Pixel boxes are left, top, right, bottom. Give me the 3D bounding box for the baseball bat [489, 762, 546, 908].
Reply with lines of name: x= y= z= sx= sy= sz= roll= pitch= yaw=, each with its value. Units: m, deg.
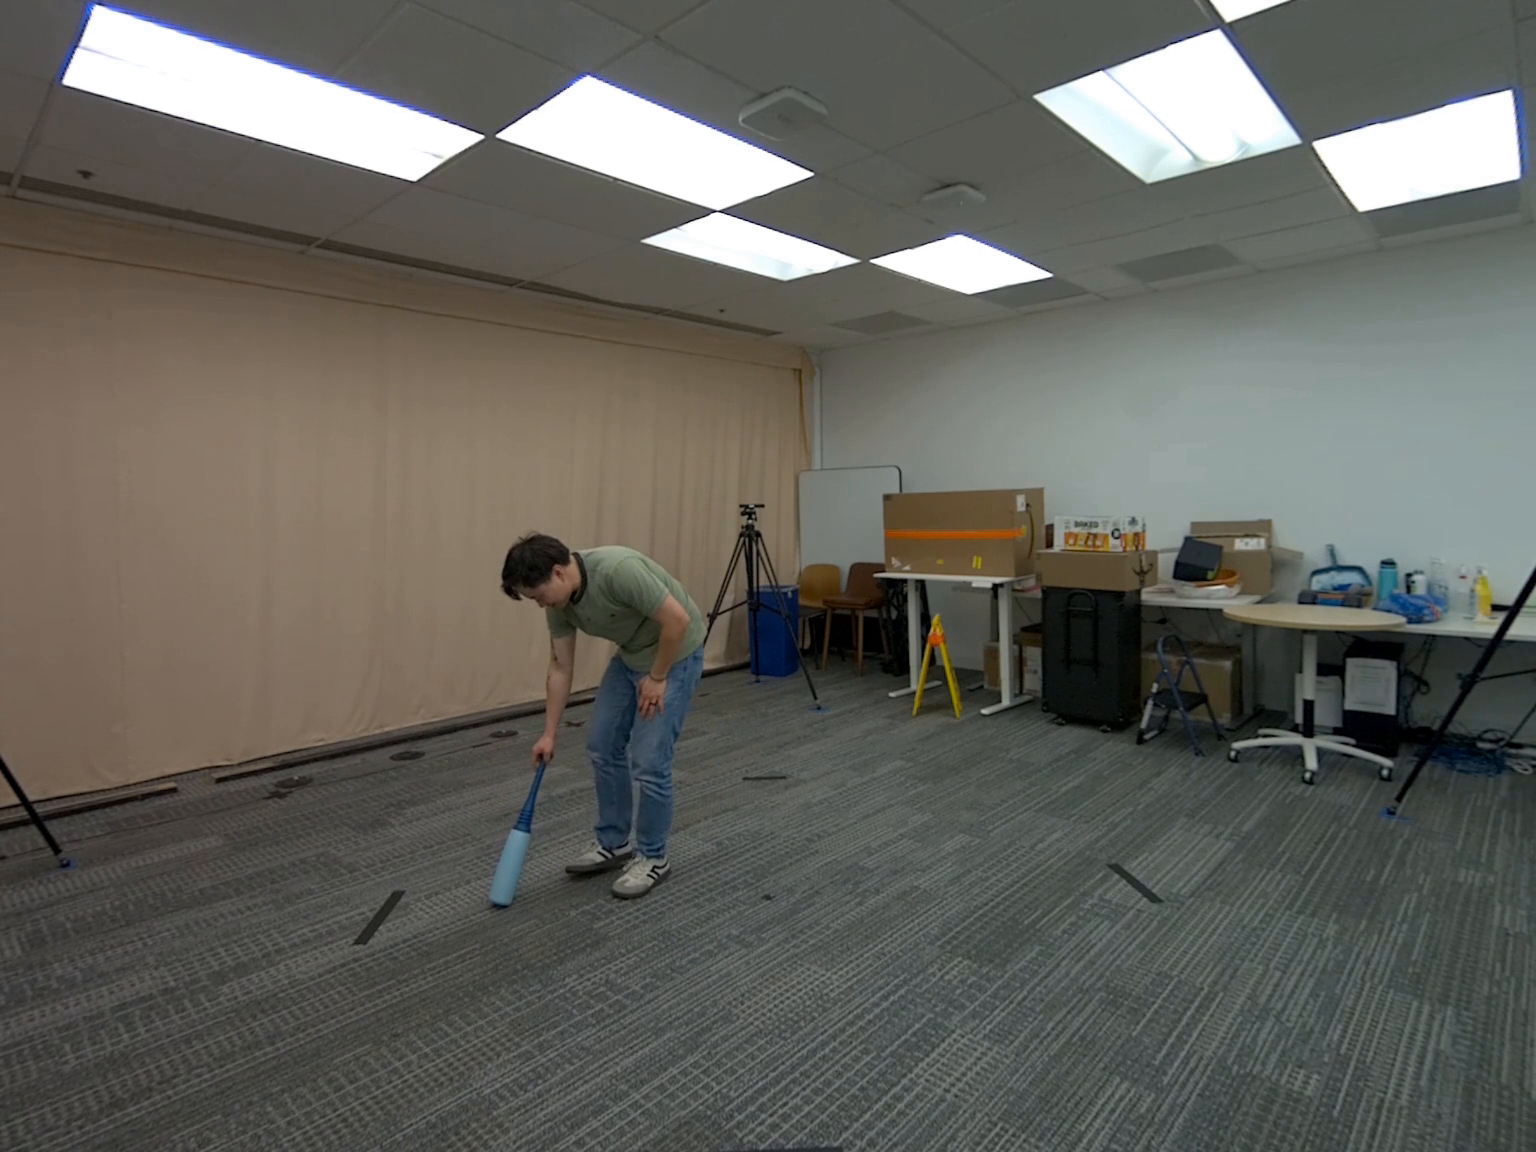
baseball bat: x=-0.887 y=0.904 z=3.044 sx=0.089 sy=0.546 sz=0.088 roll=13 pitch=-19 yaw=2
